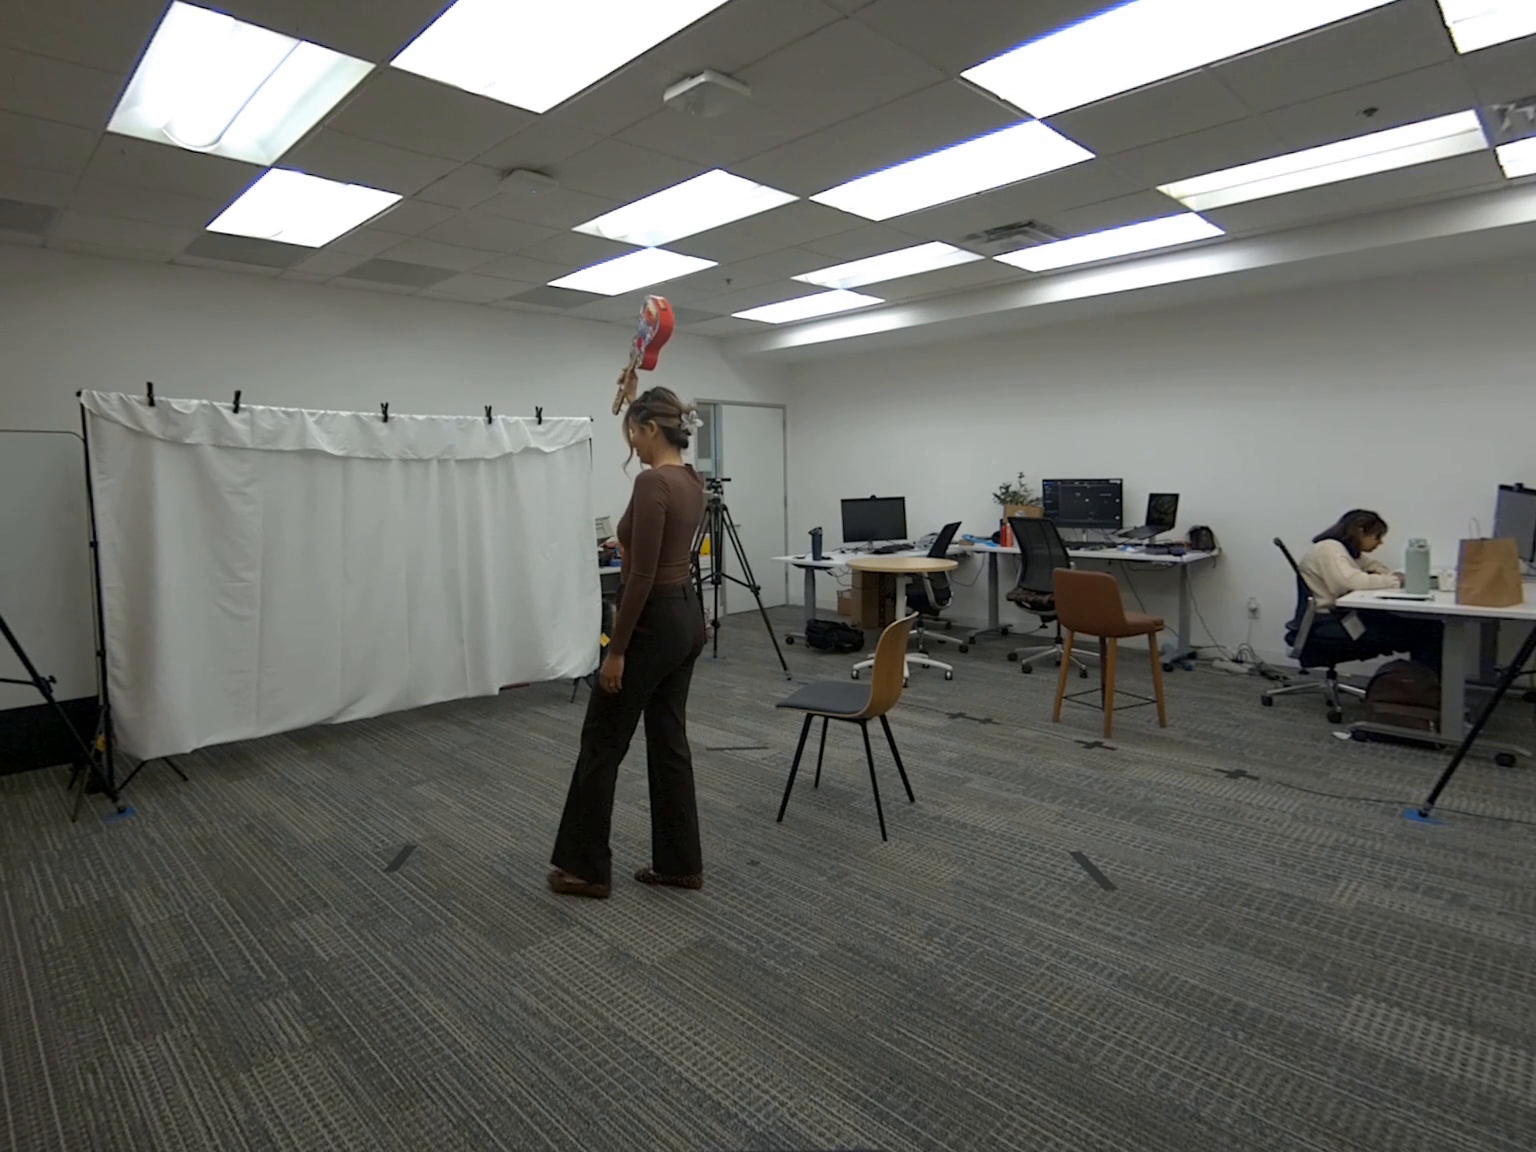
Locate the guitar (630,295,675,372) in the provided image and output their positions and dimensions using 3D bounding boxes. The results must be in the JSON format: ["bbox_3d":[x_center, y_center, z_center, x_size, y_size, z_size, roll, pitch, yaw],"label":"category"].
[{"bbox_3d":[-0.494,-0.838,3.256,0.069,0.199,0.495,3,-37,-31],"label":"guitar"}]
